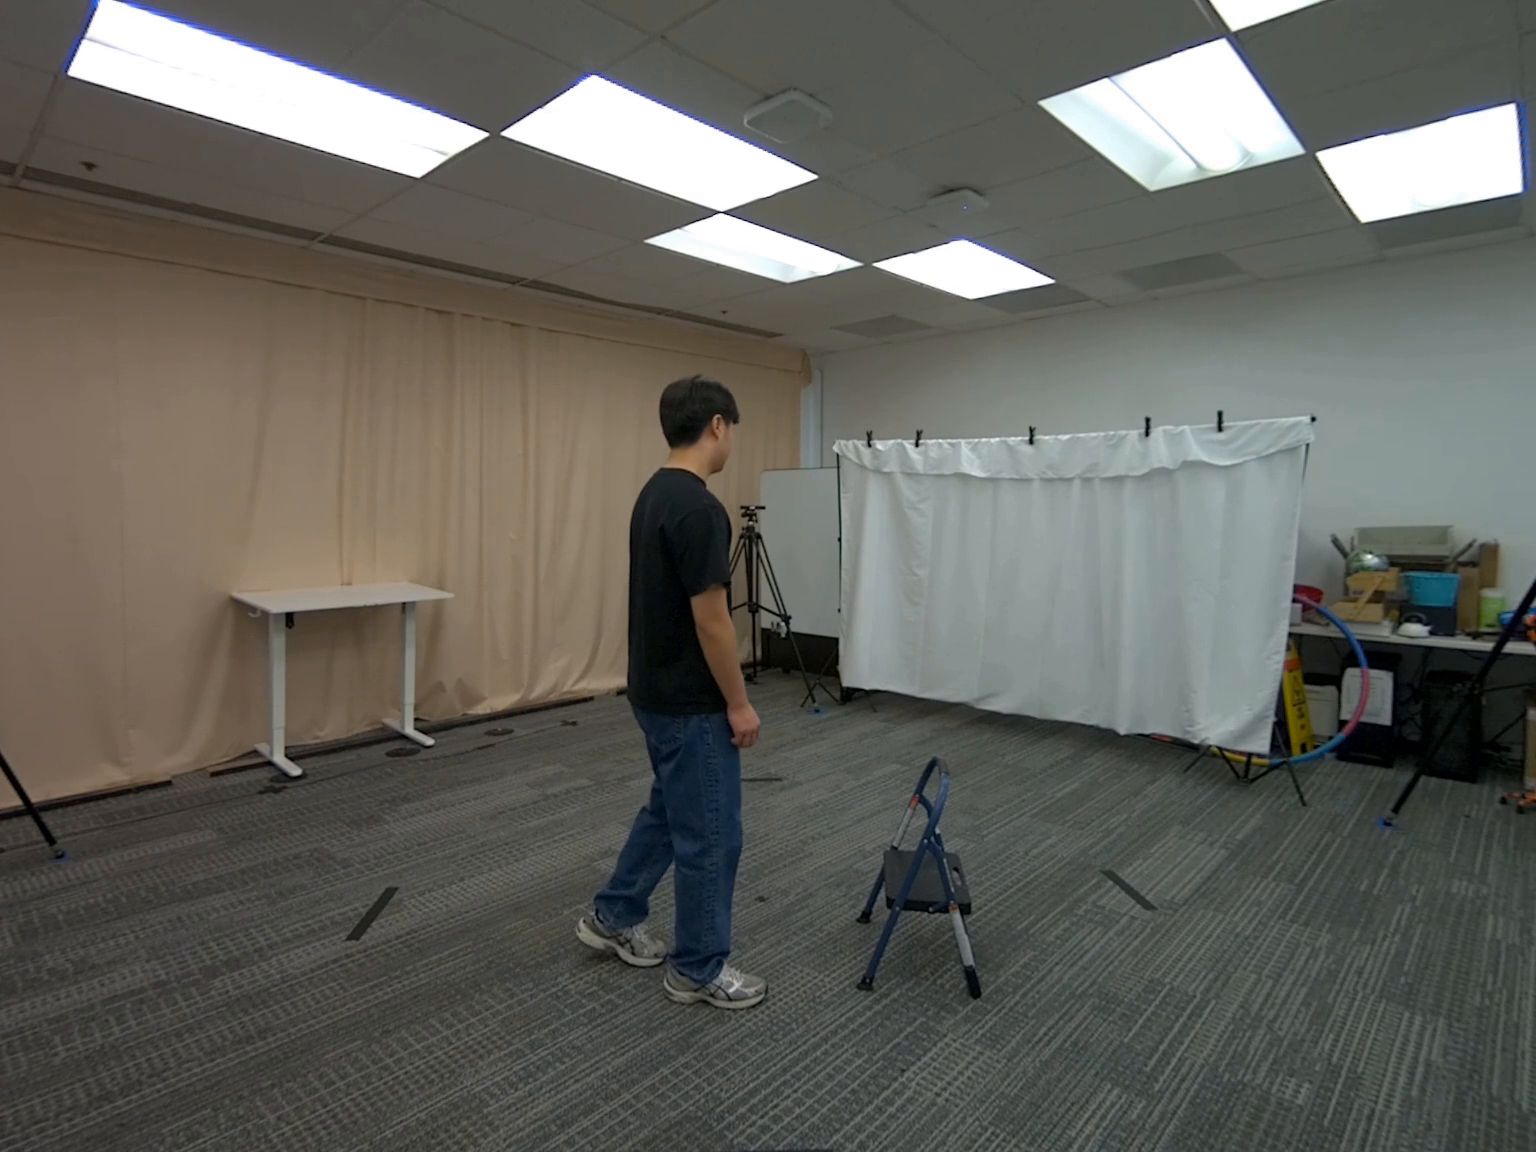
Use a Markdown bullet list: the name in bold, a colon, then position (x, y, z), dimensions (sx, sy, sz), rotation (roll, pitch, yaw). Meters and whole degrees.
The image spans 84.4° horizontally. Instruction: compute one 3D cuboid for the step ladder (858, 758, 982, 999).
- **step ladder**: position (0.457, 0.873, 2.587), dimensions (0.352, 0.605, 0.428), rotation (0, 4, 7)
